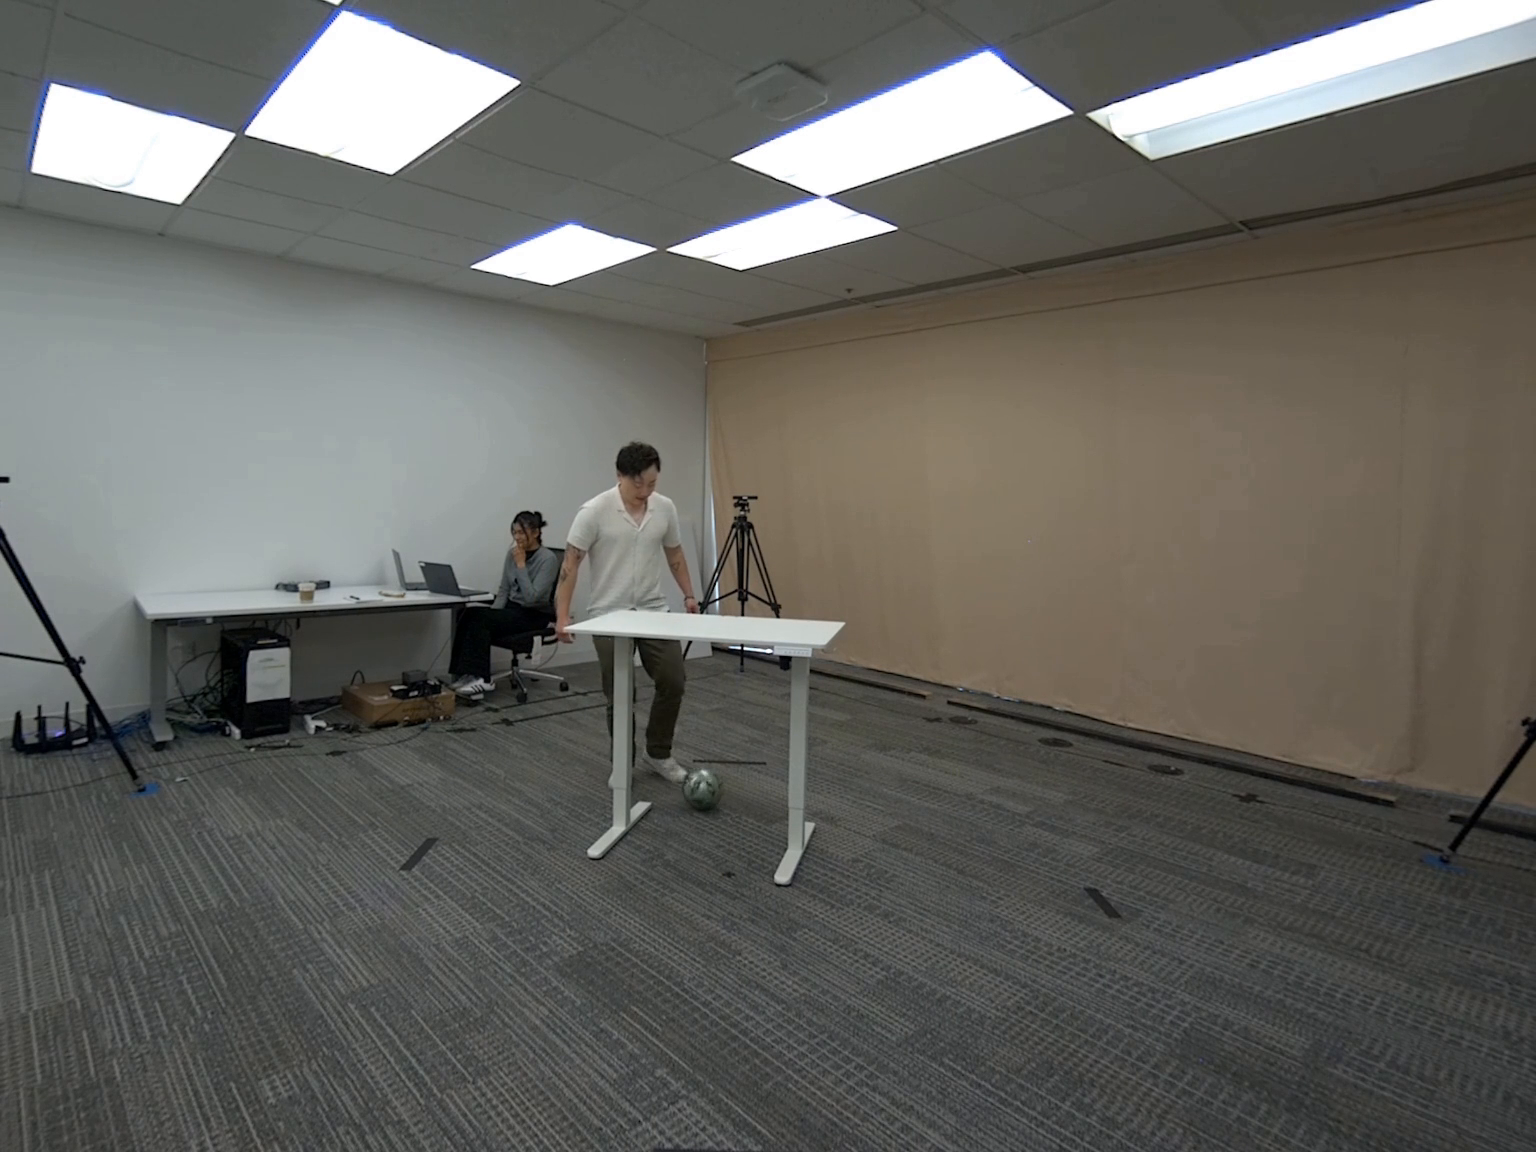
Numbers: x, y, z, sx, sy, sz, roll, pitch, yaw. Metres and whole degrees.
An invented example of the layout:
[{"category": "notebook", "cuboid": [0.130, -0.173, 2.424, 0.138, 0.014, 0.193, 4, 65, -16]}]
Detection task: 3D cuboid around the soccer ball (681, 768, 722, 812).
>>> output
[{"category": "soccer ball", "cuboid": [-0.307, 0.949, 3.758, 0.187, 0.187, 0.188, 1, 4, -1]}]
